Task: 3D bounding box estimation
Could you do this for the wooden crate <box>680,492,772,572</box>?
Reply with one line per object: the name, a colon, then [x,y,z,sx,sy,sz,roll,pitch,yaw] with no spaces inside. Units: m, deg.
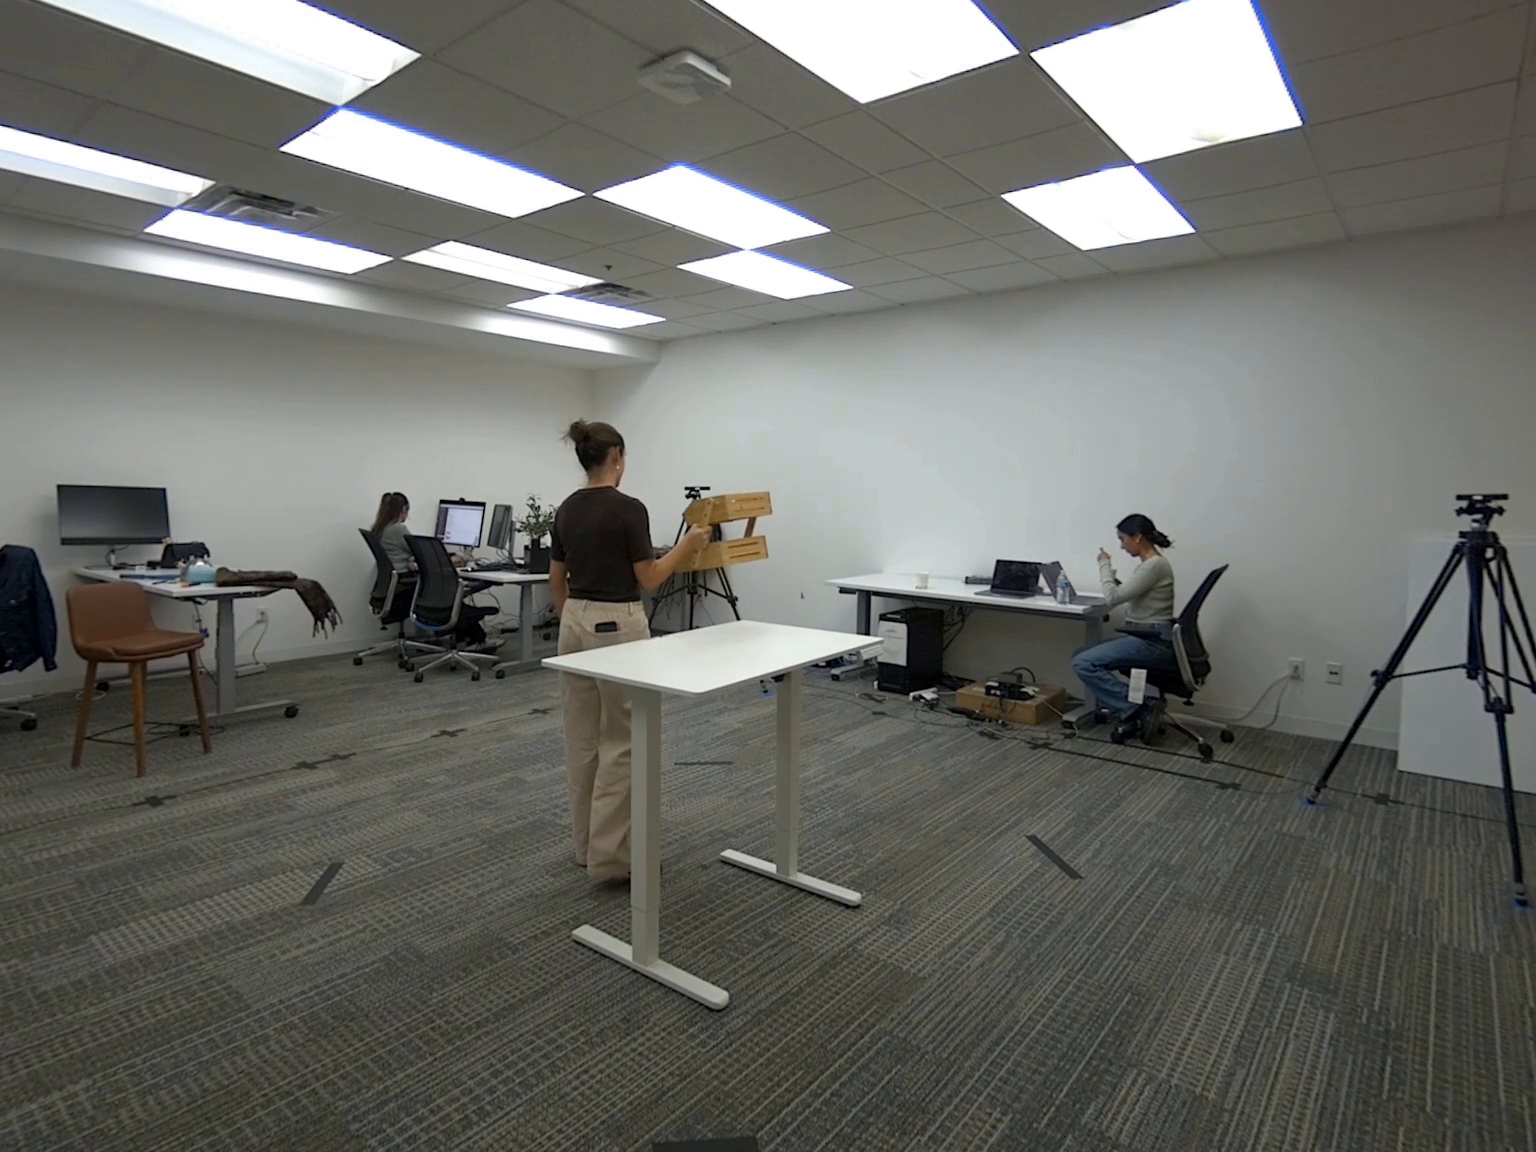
wooden crate: [-0.190,-0.177,3.300,0.310,0.273,0.316,-8,2,37]
